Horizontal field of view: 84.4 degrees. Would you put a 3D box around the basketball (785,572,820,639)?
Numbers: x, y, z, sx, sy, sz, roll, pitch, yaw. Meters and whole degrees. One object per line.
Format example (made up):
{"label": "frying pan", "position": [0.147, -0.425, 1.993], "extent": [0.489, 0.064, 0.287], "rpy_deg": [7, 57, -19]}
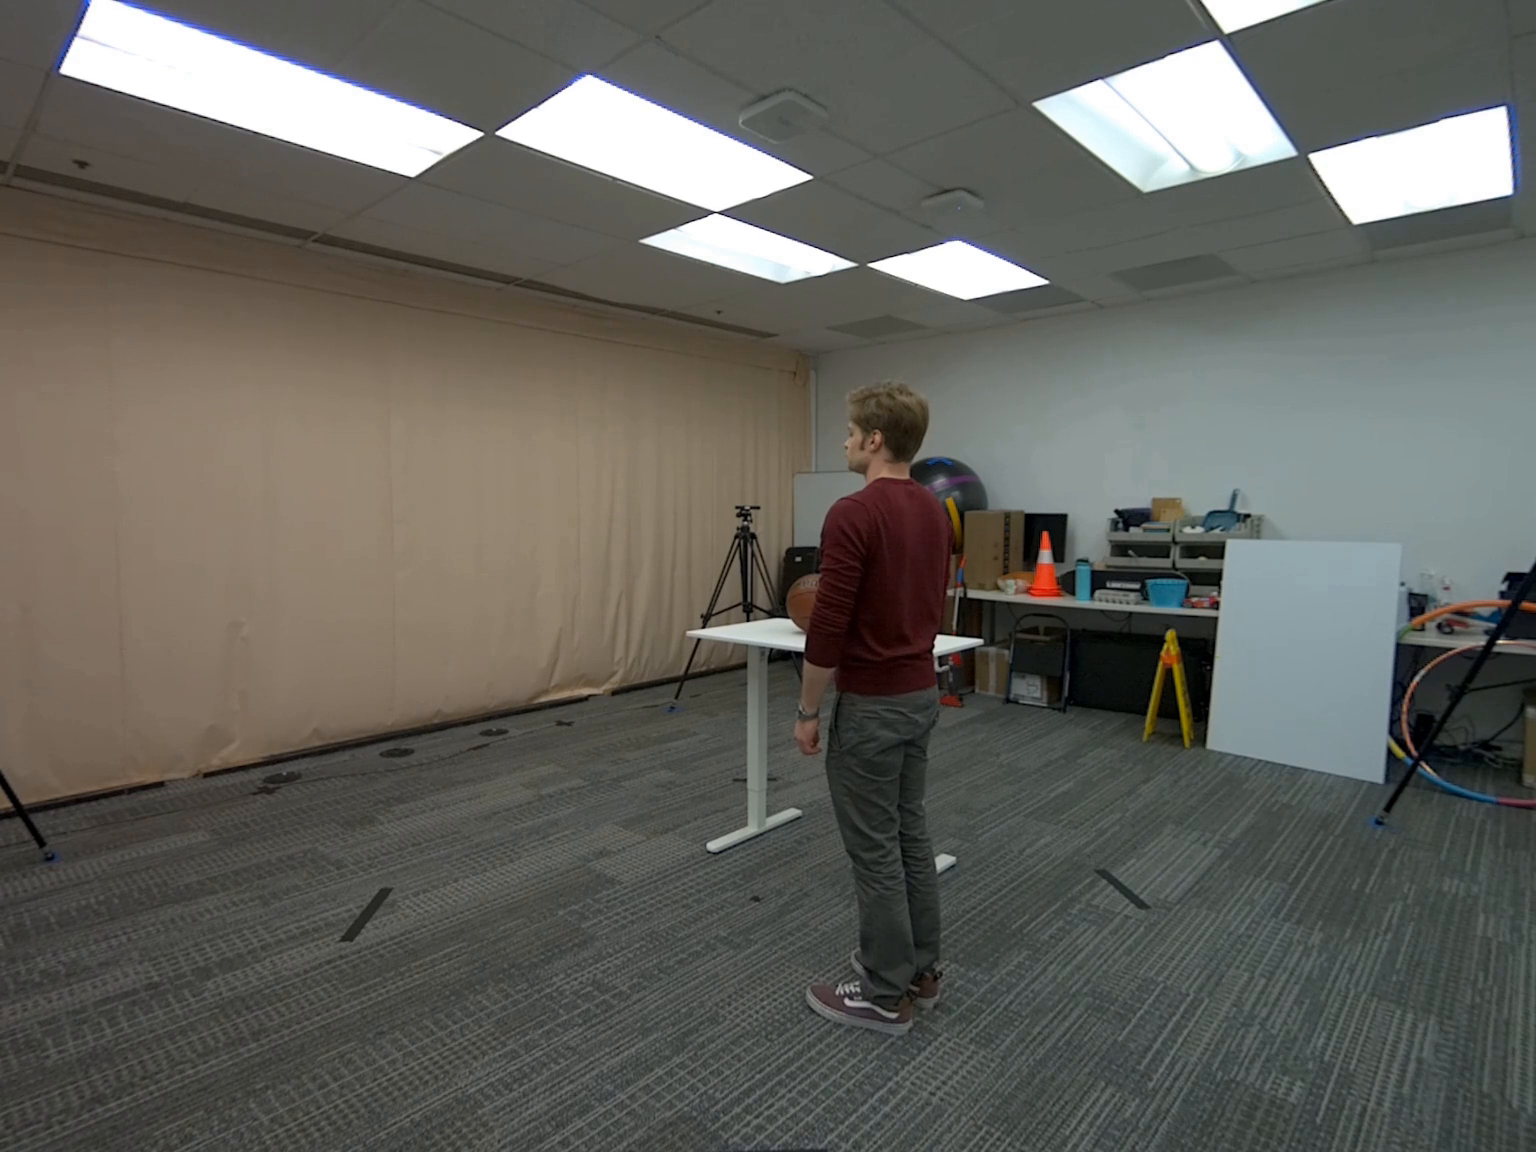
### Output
{"label": "basketball", "position": [0.196, 0.109, 3.362], "extent": [0.236, 0.235, 0.237], "rpy_deg": [0, 4, -2]}
